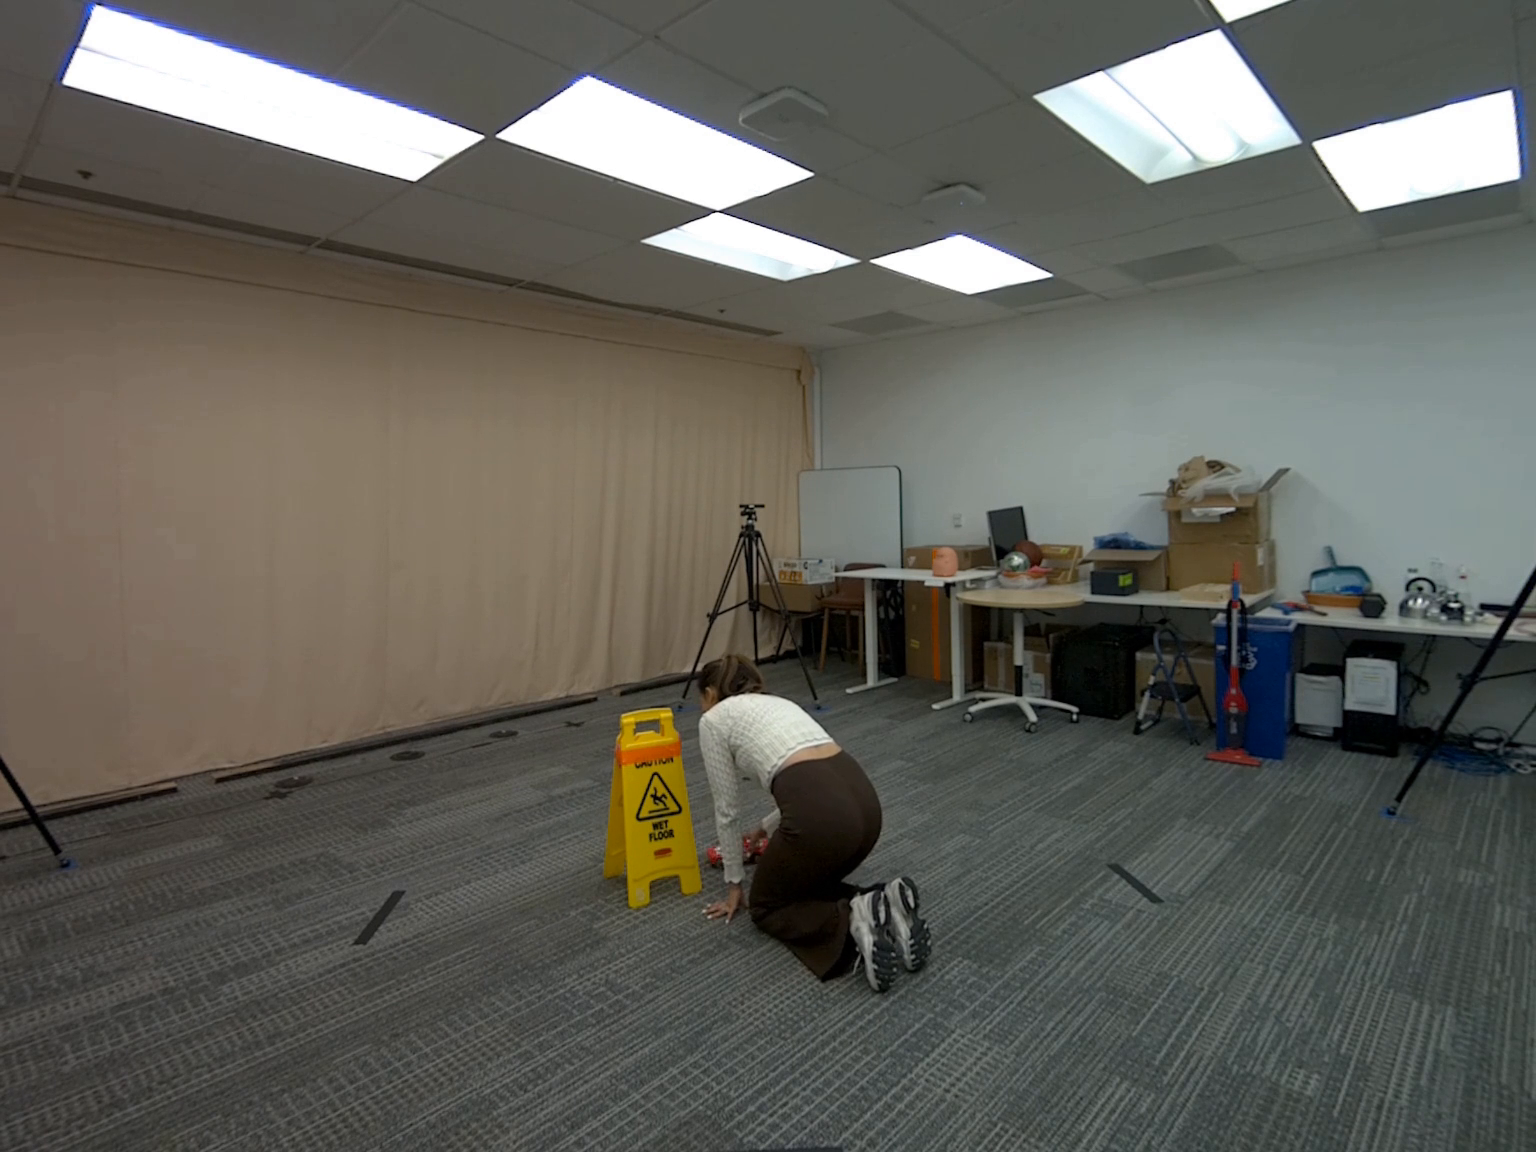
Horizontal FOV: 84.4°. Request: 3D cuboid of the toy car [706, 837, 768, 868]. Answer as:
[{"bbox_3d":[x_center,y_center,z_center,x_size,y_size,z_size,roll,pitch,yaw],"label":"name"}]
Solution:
[{"bbox_3d":[-0.119,1.086,3.283,0.251,0.083,0.133,-11,6,-16],"label":"toy car"}]
